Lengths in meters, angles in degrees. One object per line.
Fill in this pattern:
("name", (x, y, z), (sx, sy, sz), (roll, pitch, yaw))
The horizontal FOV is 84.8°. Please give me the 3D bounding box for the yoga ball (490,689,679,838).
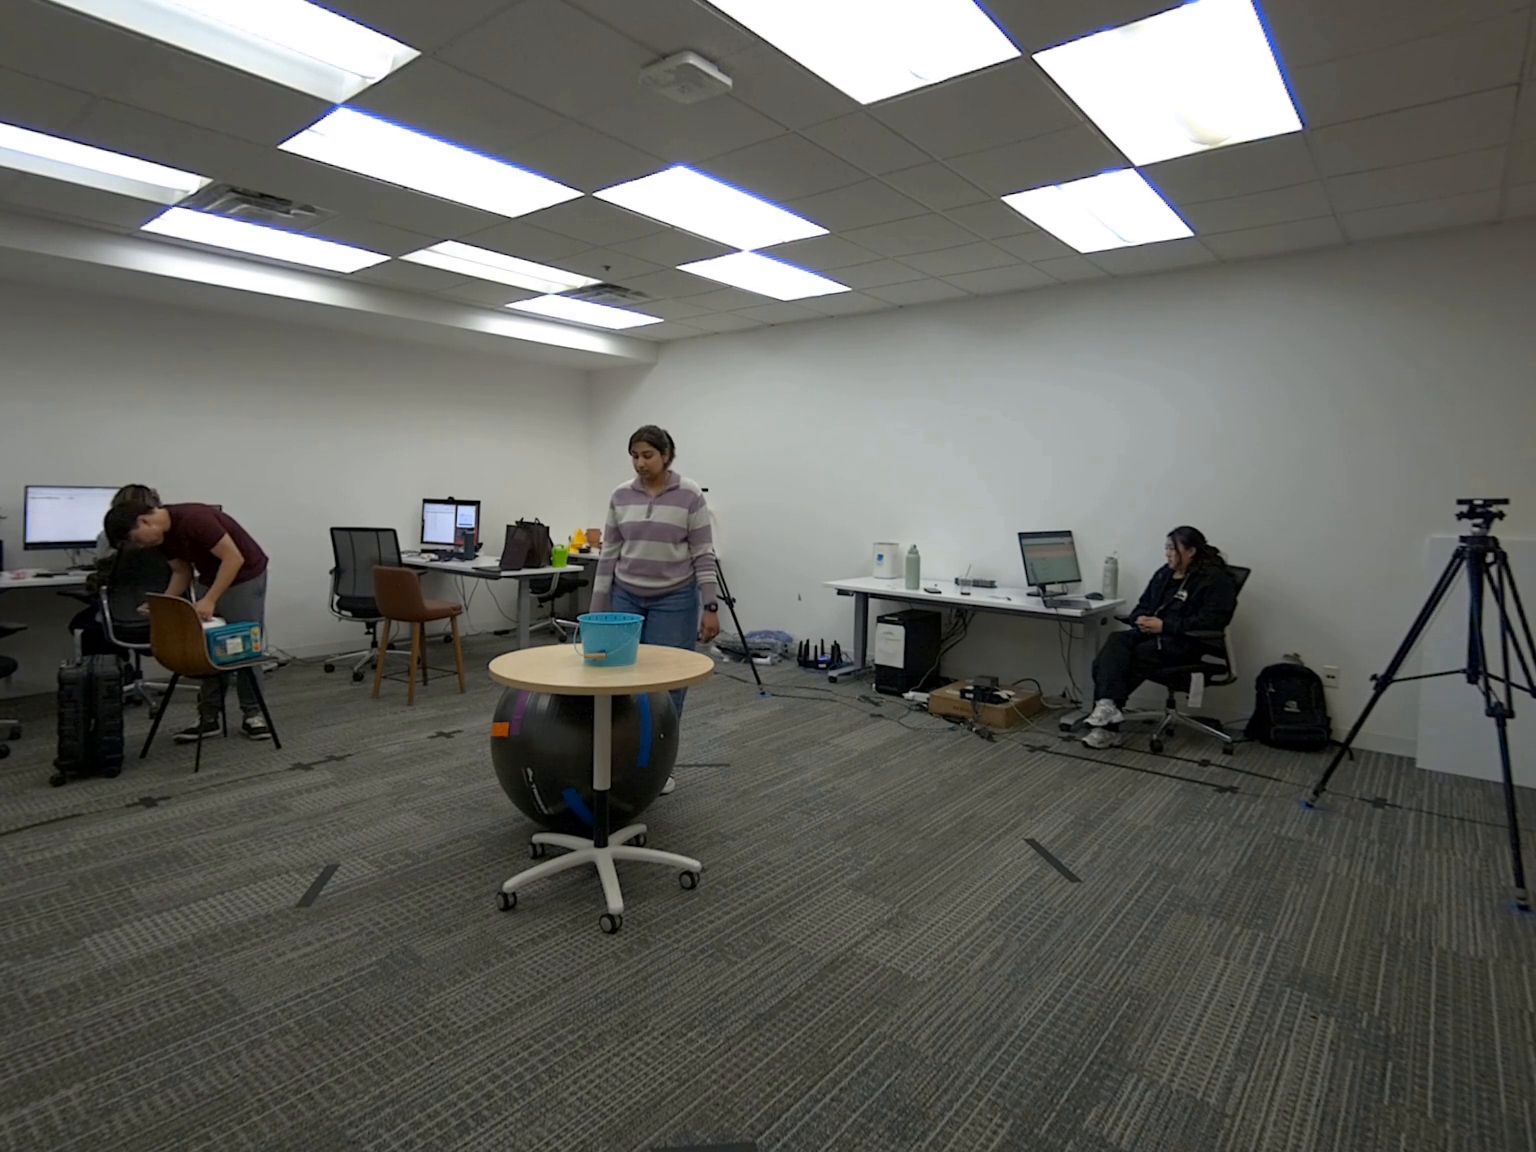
("yoga ball", (-0.757, 0.653, 3.470), (0.757, 0.755, 0.762), (1, 4, -2))
